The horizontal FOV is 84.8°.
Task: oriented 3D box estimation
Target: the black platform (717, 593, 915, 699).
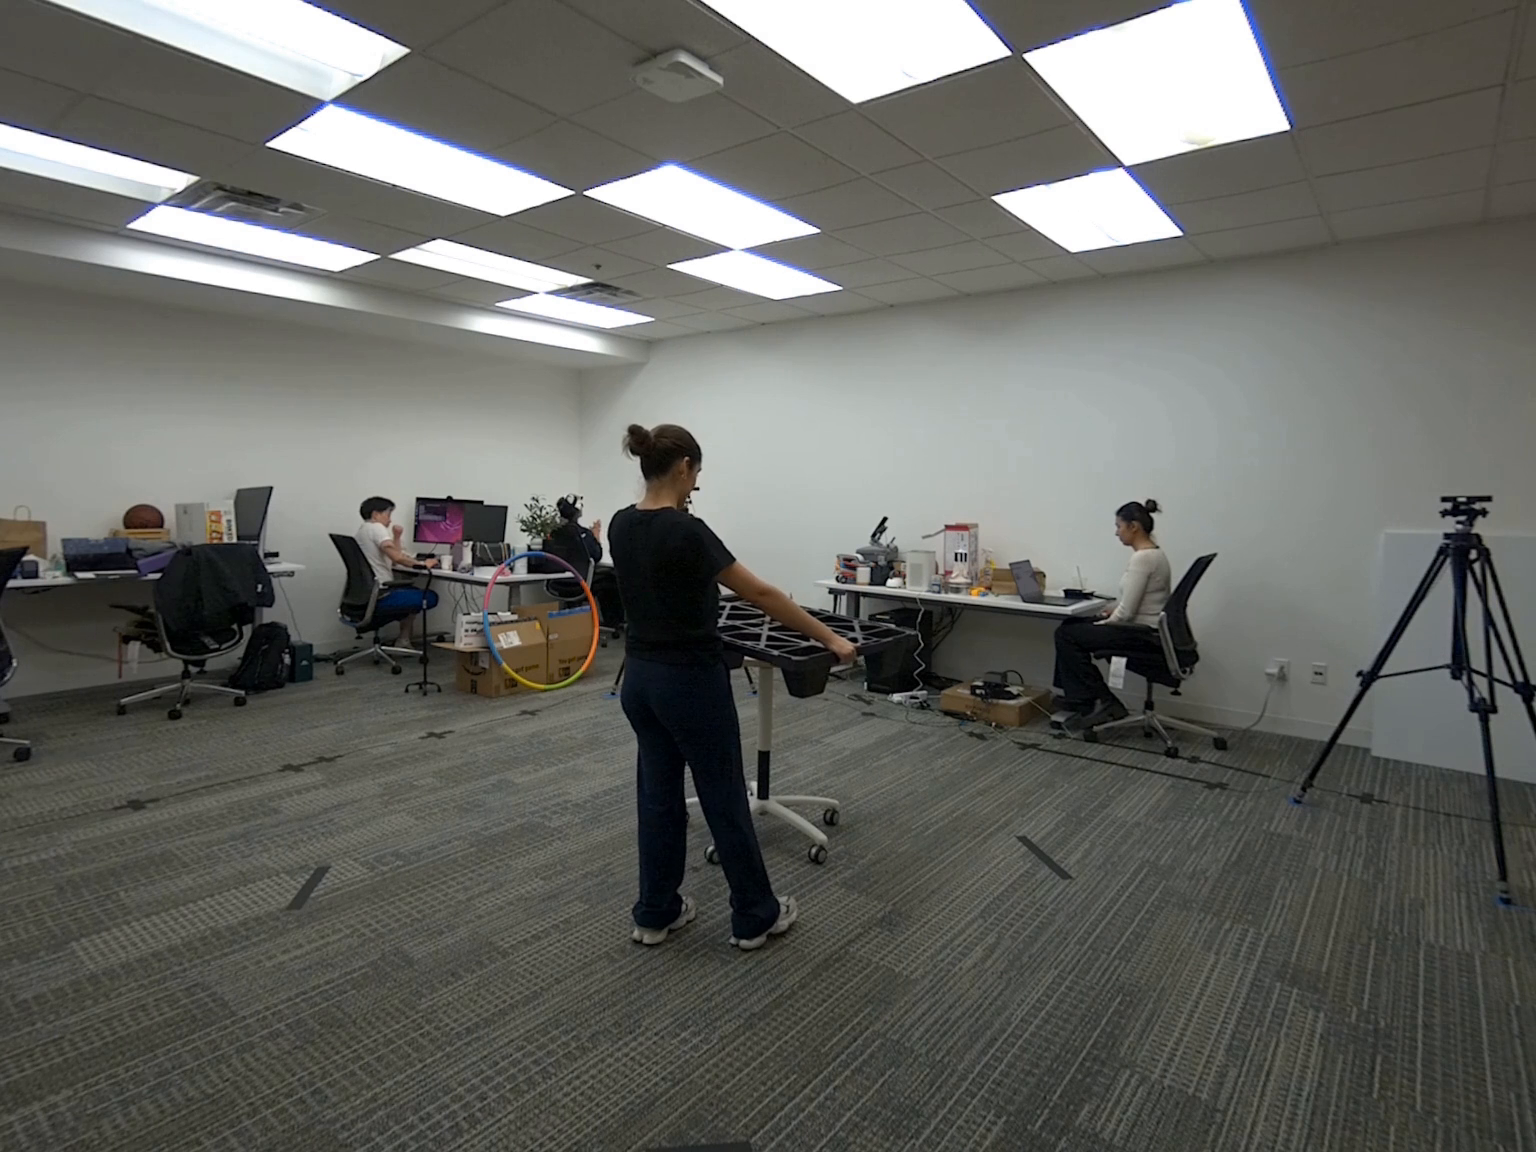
[{"bbox_3d":[0.018,0.207,2.831,0.588,0.142,0.835,-8,14,-42],"label":"black platform"}]
